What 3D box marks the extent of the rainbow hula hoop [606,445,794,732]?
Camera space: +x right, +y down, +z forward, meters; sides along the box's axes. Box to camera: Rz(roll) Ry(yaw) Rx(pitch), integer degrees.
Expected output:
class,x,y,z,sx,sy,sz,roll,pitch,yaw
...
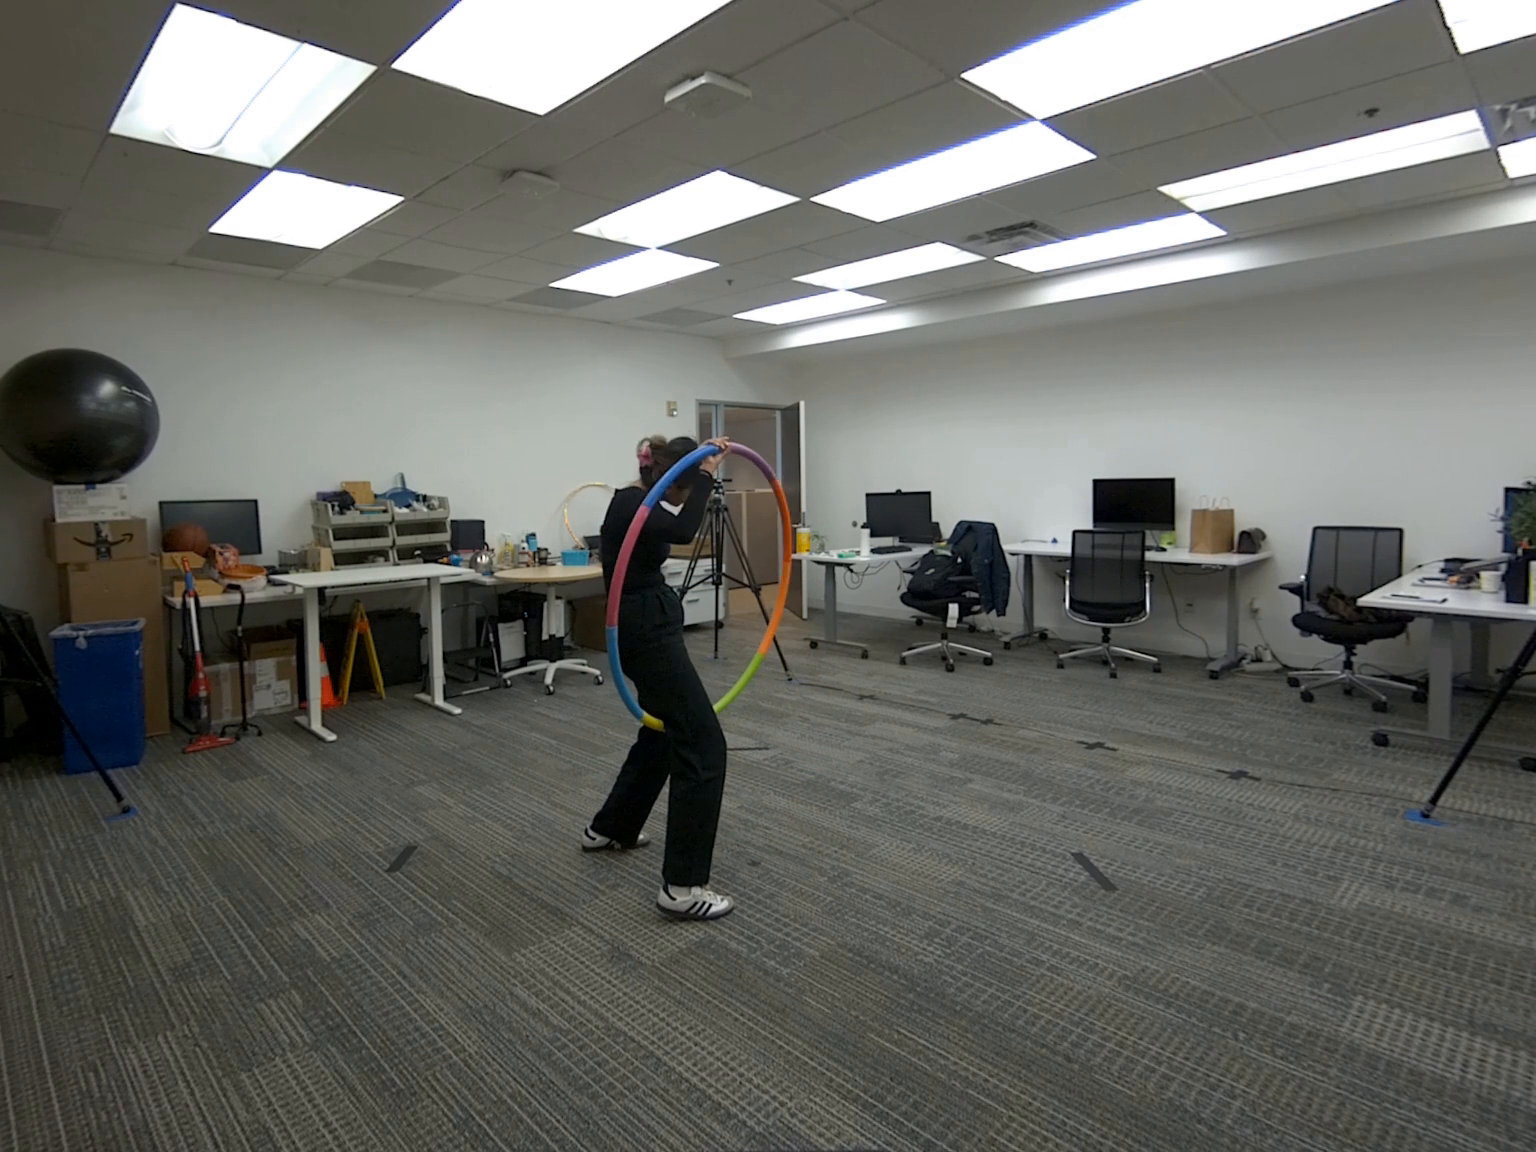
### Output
class,x,y,z,sx,sy,sz,roll,pitch,yaw
rainbow hula hoop,-0.206,0.038,2.908,0.037,0.971,0.955,13,12,34
